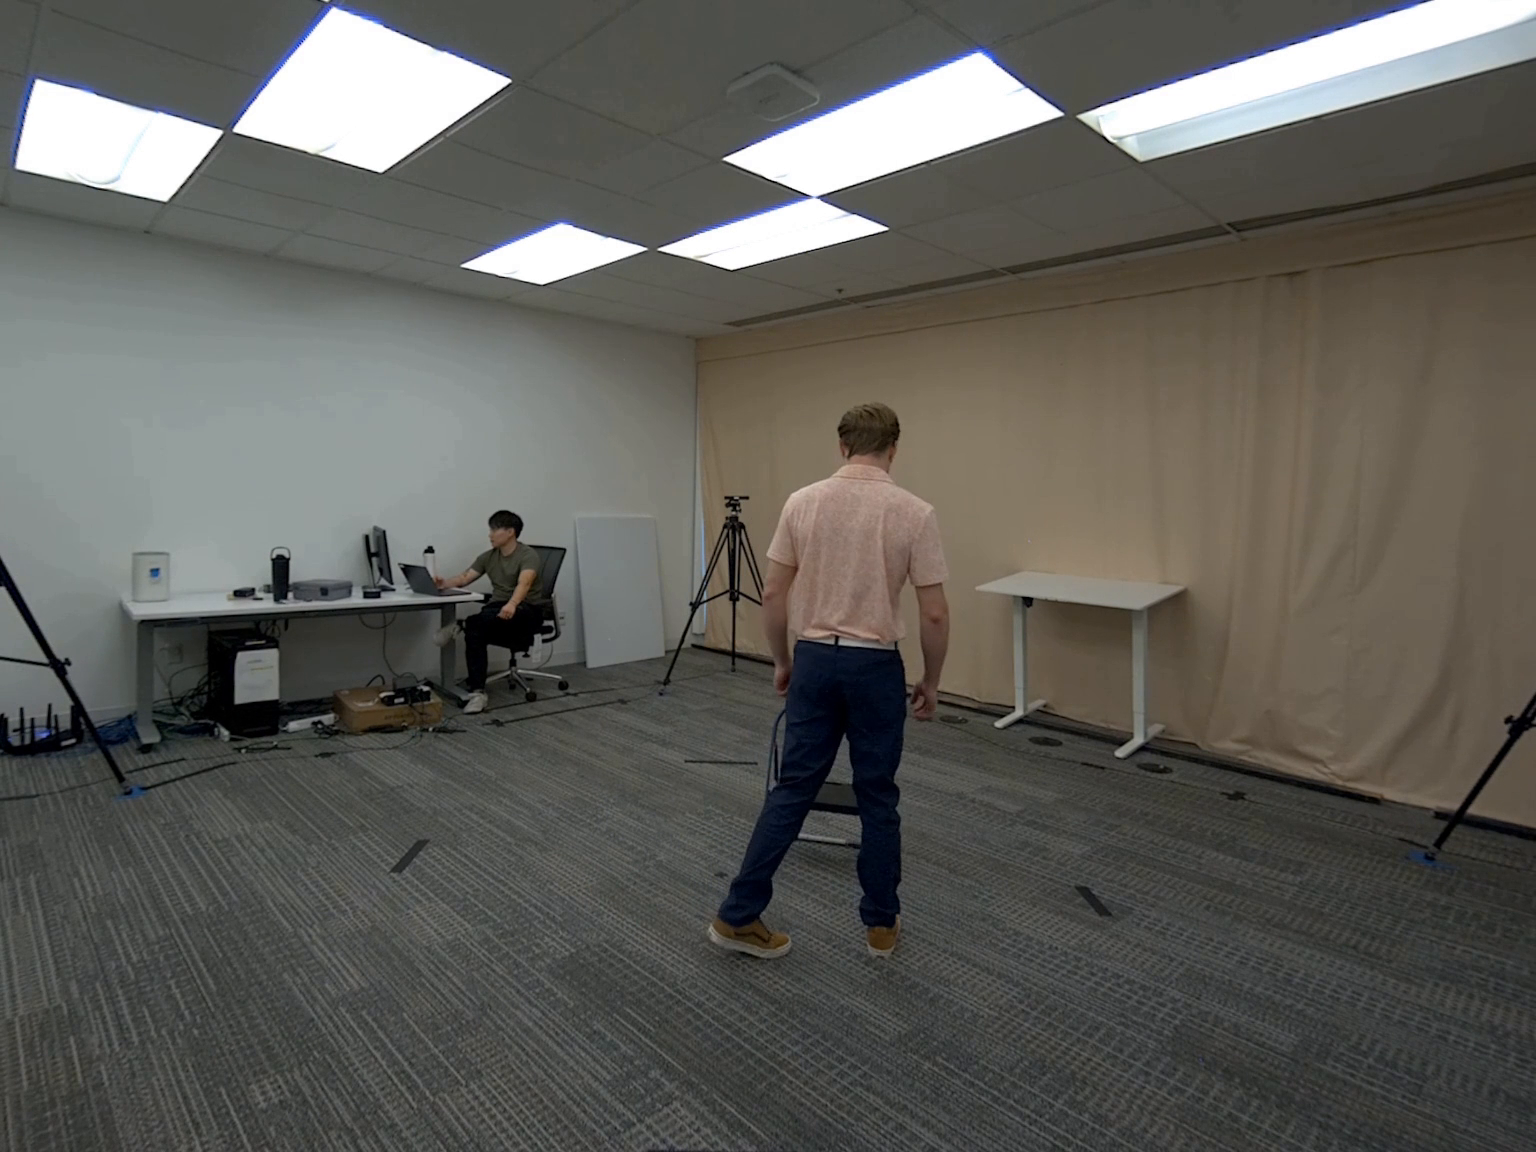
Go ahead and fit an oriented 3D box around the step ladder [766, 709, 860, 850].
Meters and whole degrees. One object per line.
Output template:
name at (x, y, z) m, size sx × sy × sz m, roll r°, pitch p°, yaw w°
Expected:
step ladder at (0.202, 0.798, 3.254) m, size 0.436 × 0.605 × 0.345 m, roll 2°, pitch 3°, yaw 15°
